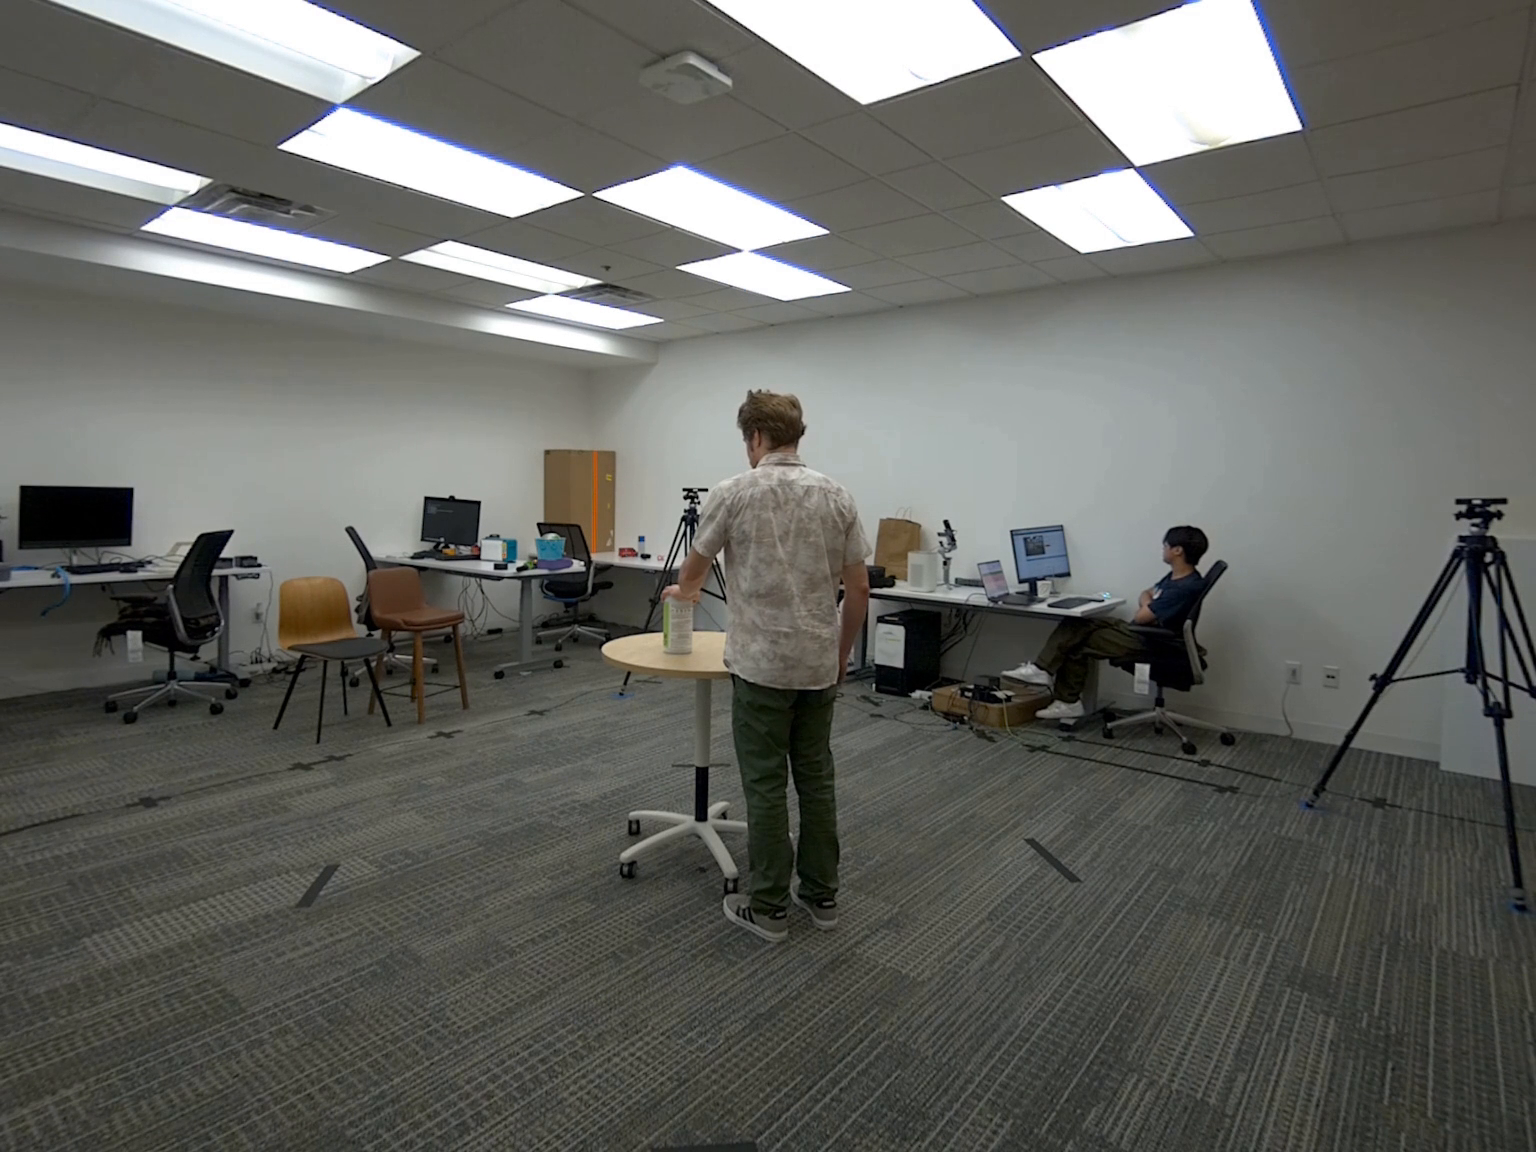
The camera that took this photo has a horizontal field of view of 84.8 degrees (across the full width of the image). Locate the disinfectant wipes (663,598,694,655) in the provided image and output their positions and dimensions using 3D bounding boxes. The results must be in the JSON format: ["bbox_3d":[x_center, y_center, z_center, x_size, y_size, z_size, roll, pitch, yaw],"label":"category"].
[{"bbox_3d":[-0.337,0.170,3.119,0.118,0.217,0.118,-1,3,-2],"label":"disinfectant wipes"}]
